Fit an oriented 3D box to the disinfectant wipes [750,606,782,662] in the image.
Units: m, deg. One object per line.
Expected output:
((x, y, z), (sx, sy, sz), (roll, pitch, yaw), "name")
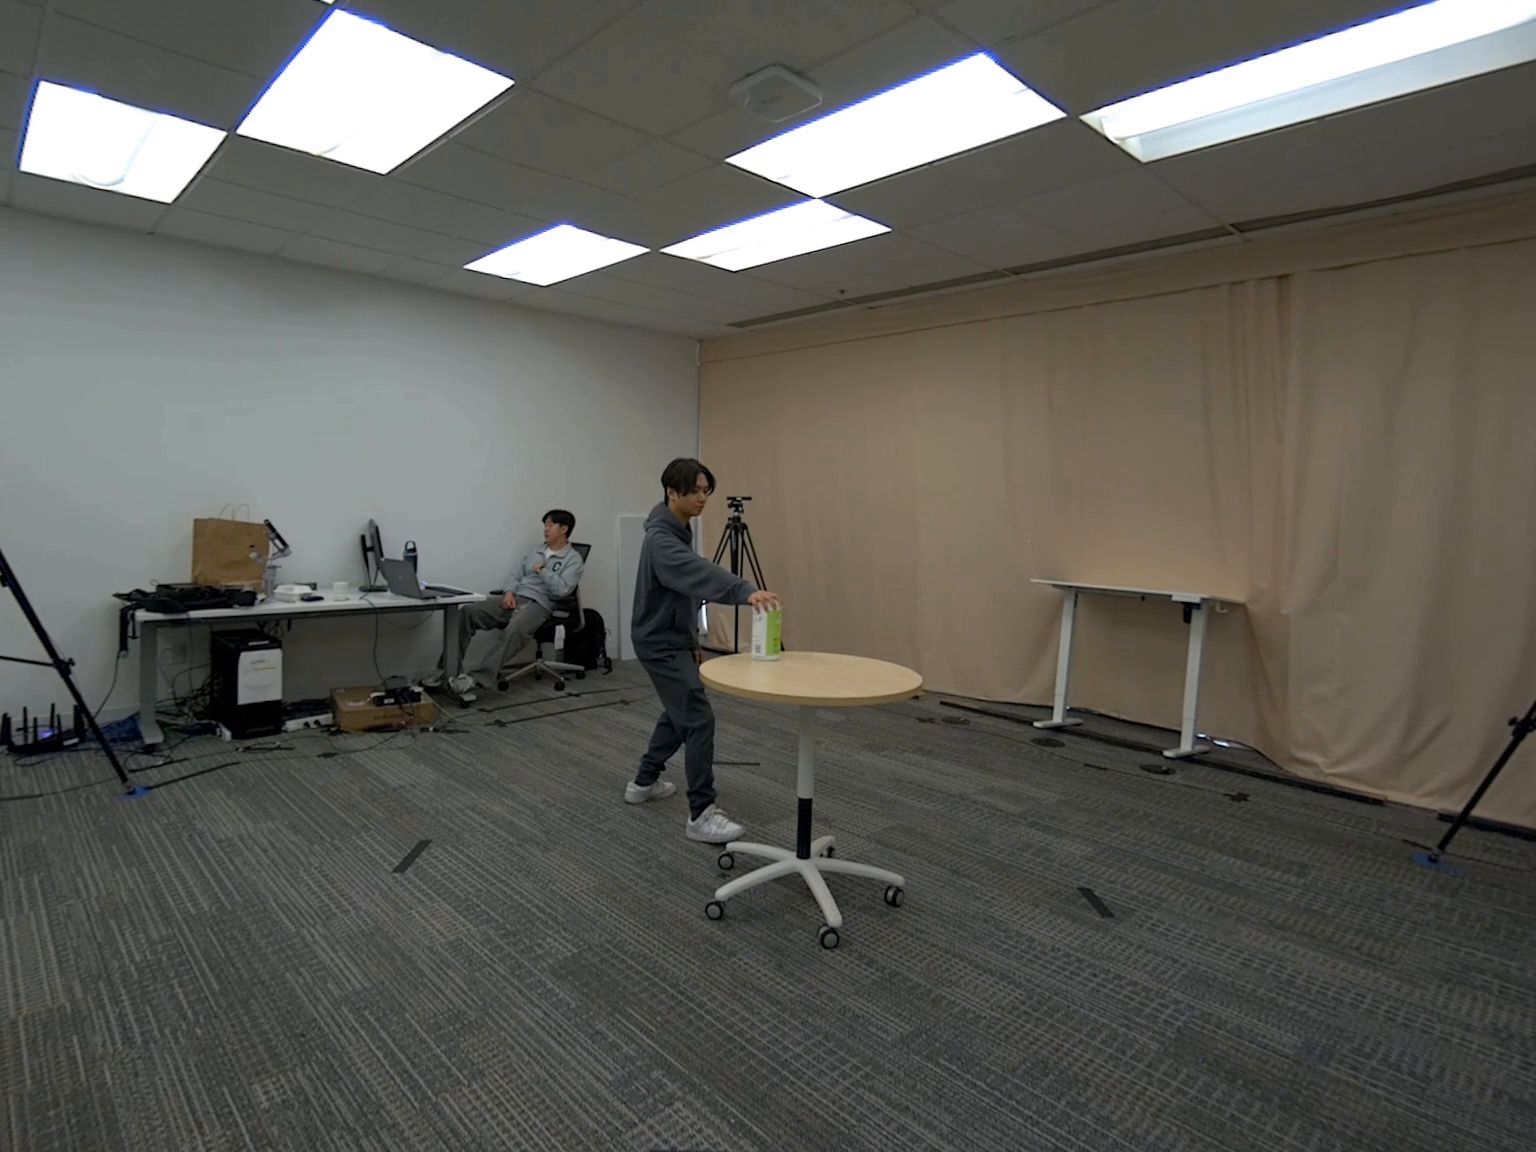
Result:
((-0.012, 0.203, 3.126), (0.118, 0.217, 0.118), (-1, 3, -1), "disinfectant wipes")
